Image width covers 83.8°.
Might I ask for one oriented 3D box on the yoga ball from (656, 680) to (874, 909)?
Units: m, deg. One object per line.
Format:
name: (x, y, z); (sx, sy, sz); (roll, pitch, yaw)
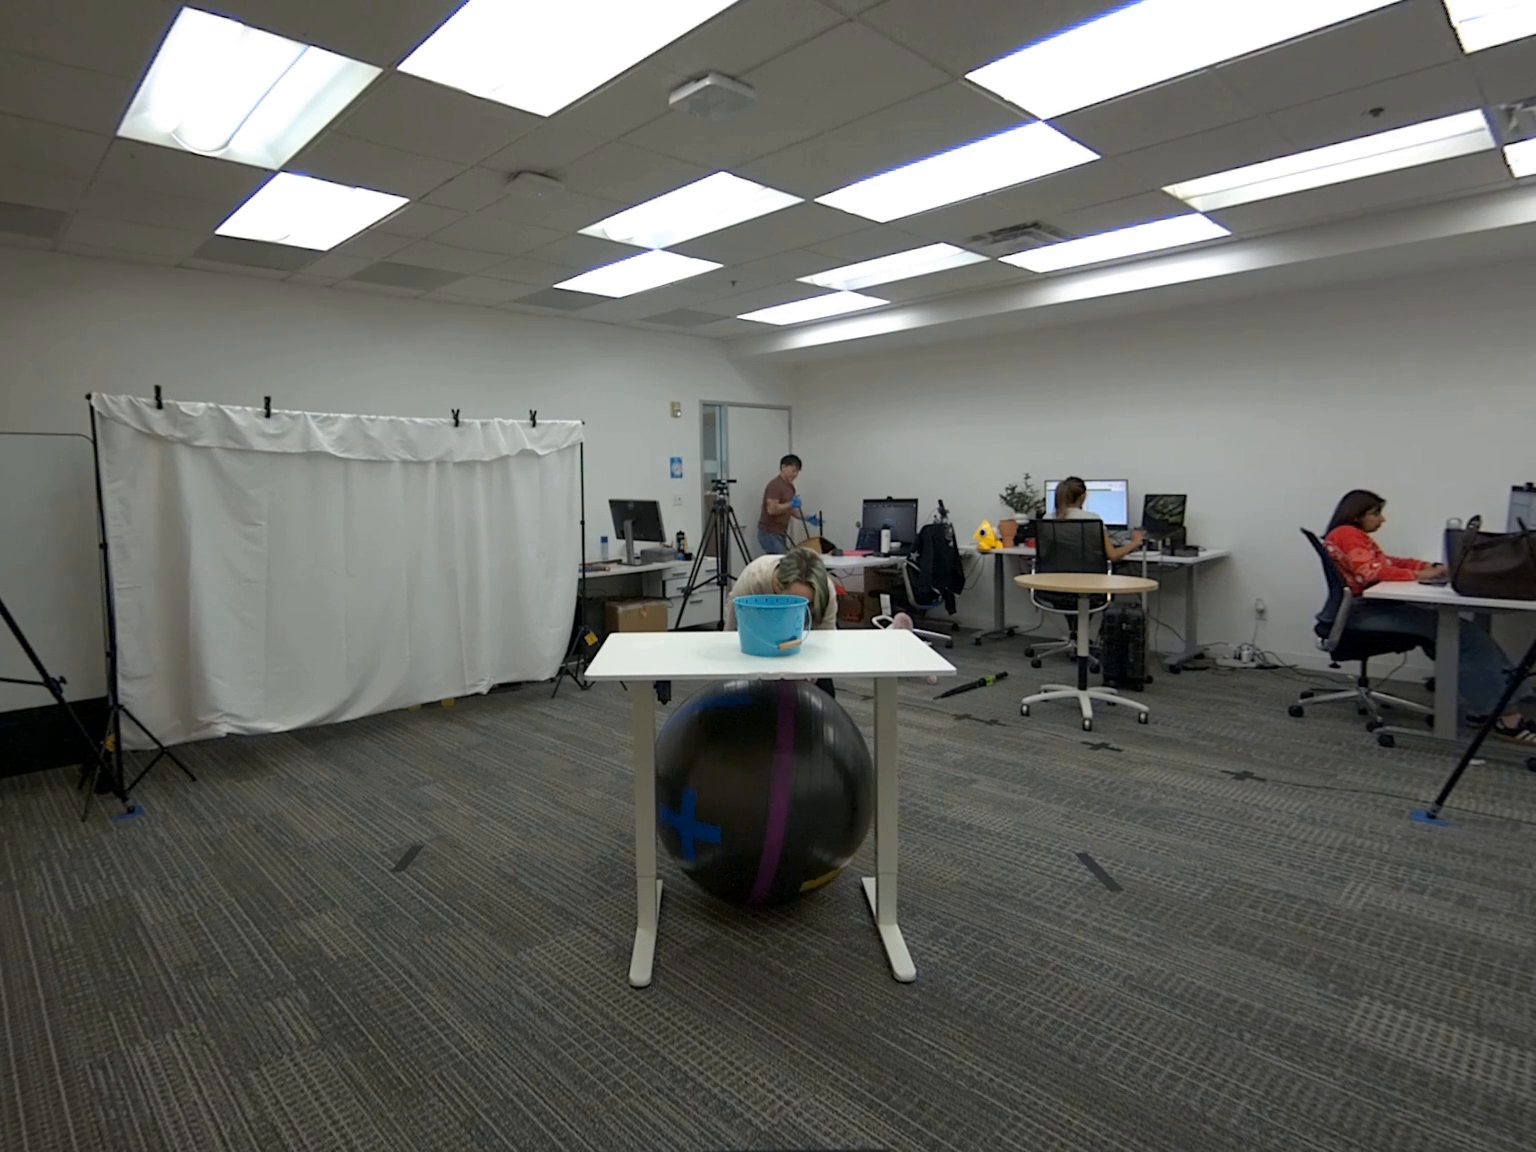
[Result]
yoga ball: (-0.024, 0.706, 2.882); (0.757, 0.755, 0.762); (-1, 5, -2)
